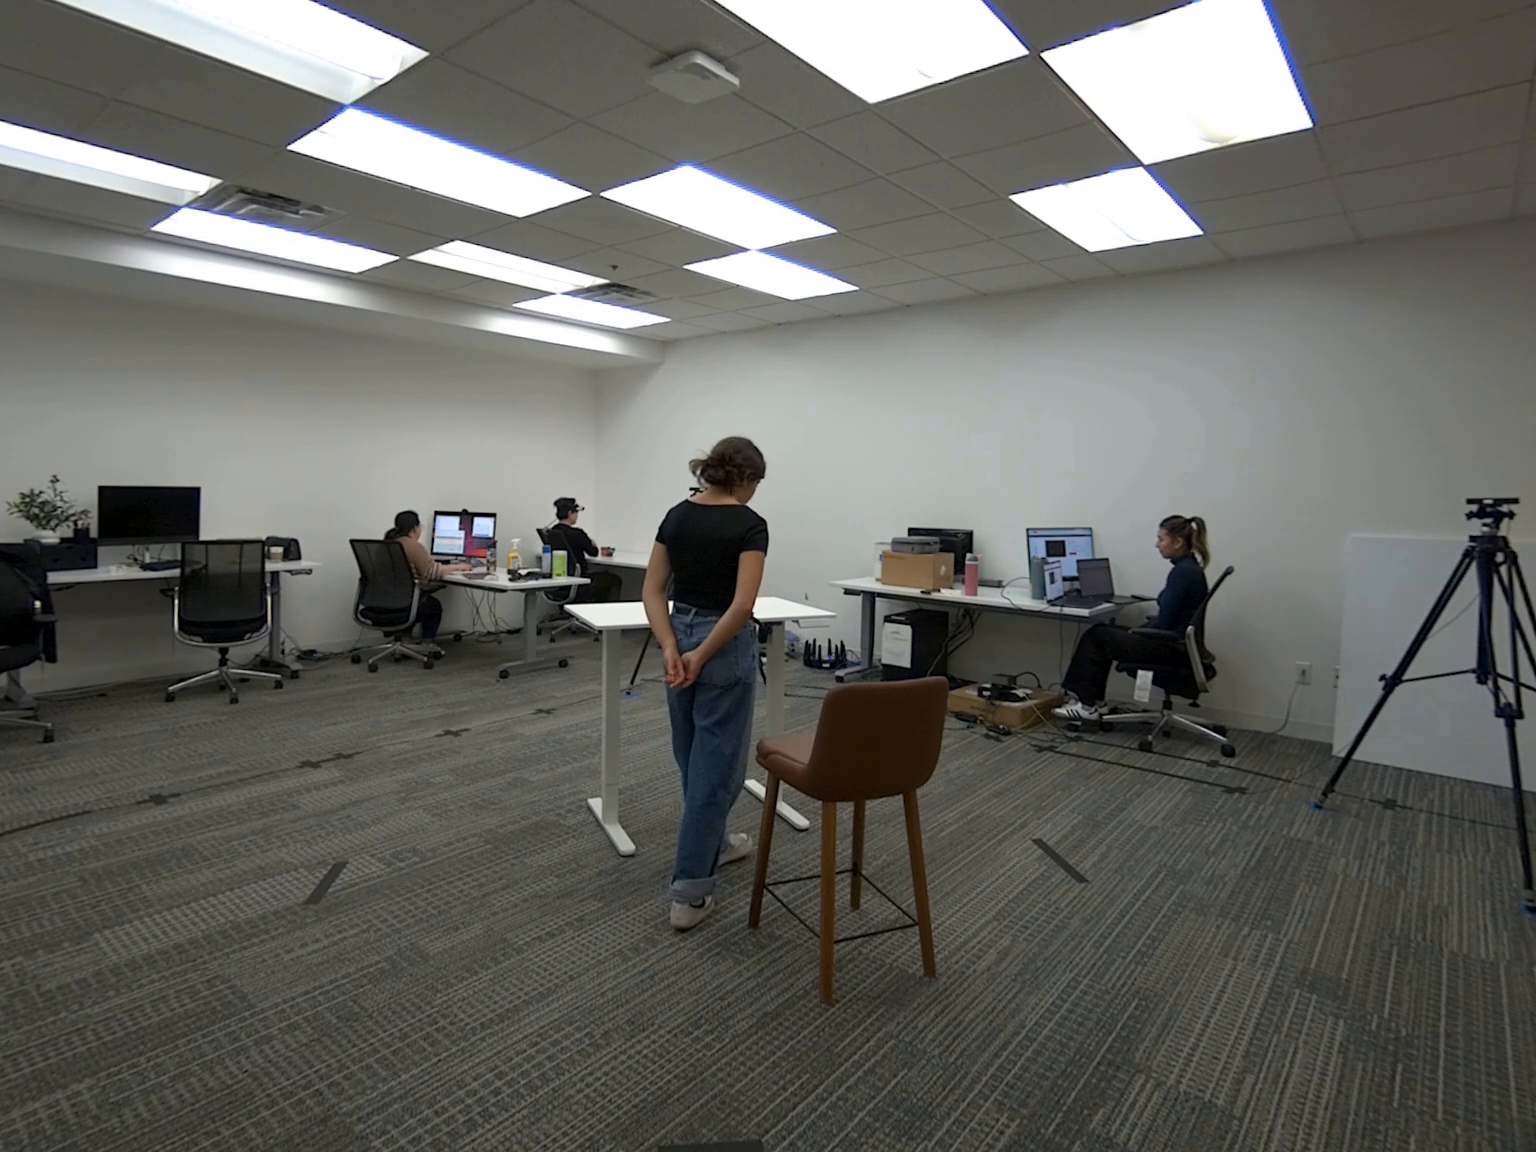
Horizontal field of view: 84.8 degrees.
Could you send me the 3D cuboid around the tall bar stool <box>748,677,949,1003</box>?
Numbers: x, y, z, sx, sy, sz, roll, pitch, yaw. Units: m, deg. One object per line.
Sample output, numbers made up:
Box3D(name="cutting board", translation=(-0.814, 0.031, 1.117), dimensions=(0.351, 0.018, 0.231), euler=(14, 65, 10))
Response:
Box3D(name="tall bar stool", translation=(0.225, 0.697, 2.549), dimensions=(0.446, 0.886, 0.481), euler=(0, 5, -25))
